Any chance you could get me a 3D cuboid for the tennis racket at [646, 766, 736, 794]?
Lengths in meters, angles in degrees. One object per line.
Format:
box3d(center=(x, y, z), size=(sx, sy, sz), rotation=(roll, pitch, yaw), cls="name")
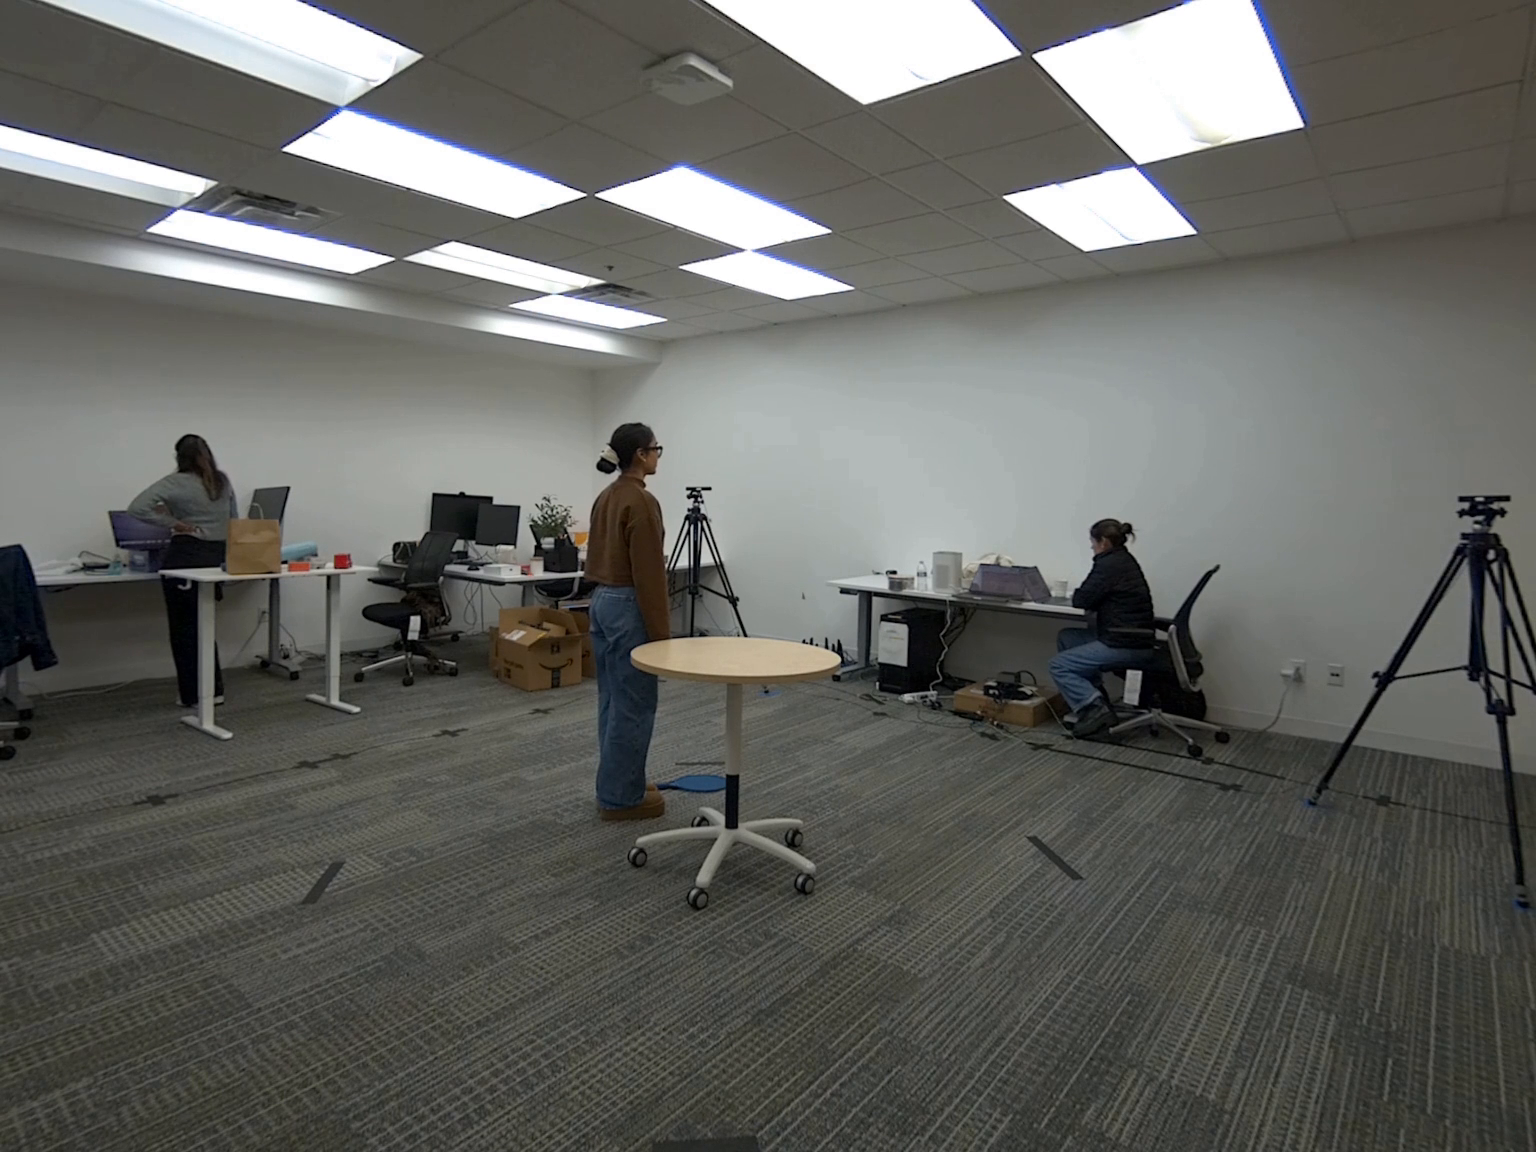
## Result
box3d(center=(-0.395, 0.957, 3.954), size=(0.423, 0.031, 0.219), rotation=(0, 5, -22), cls="tennis racket")
